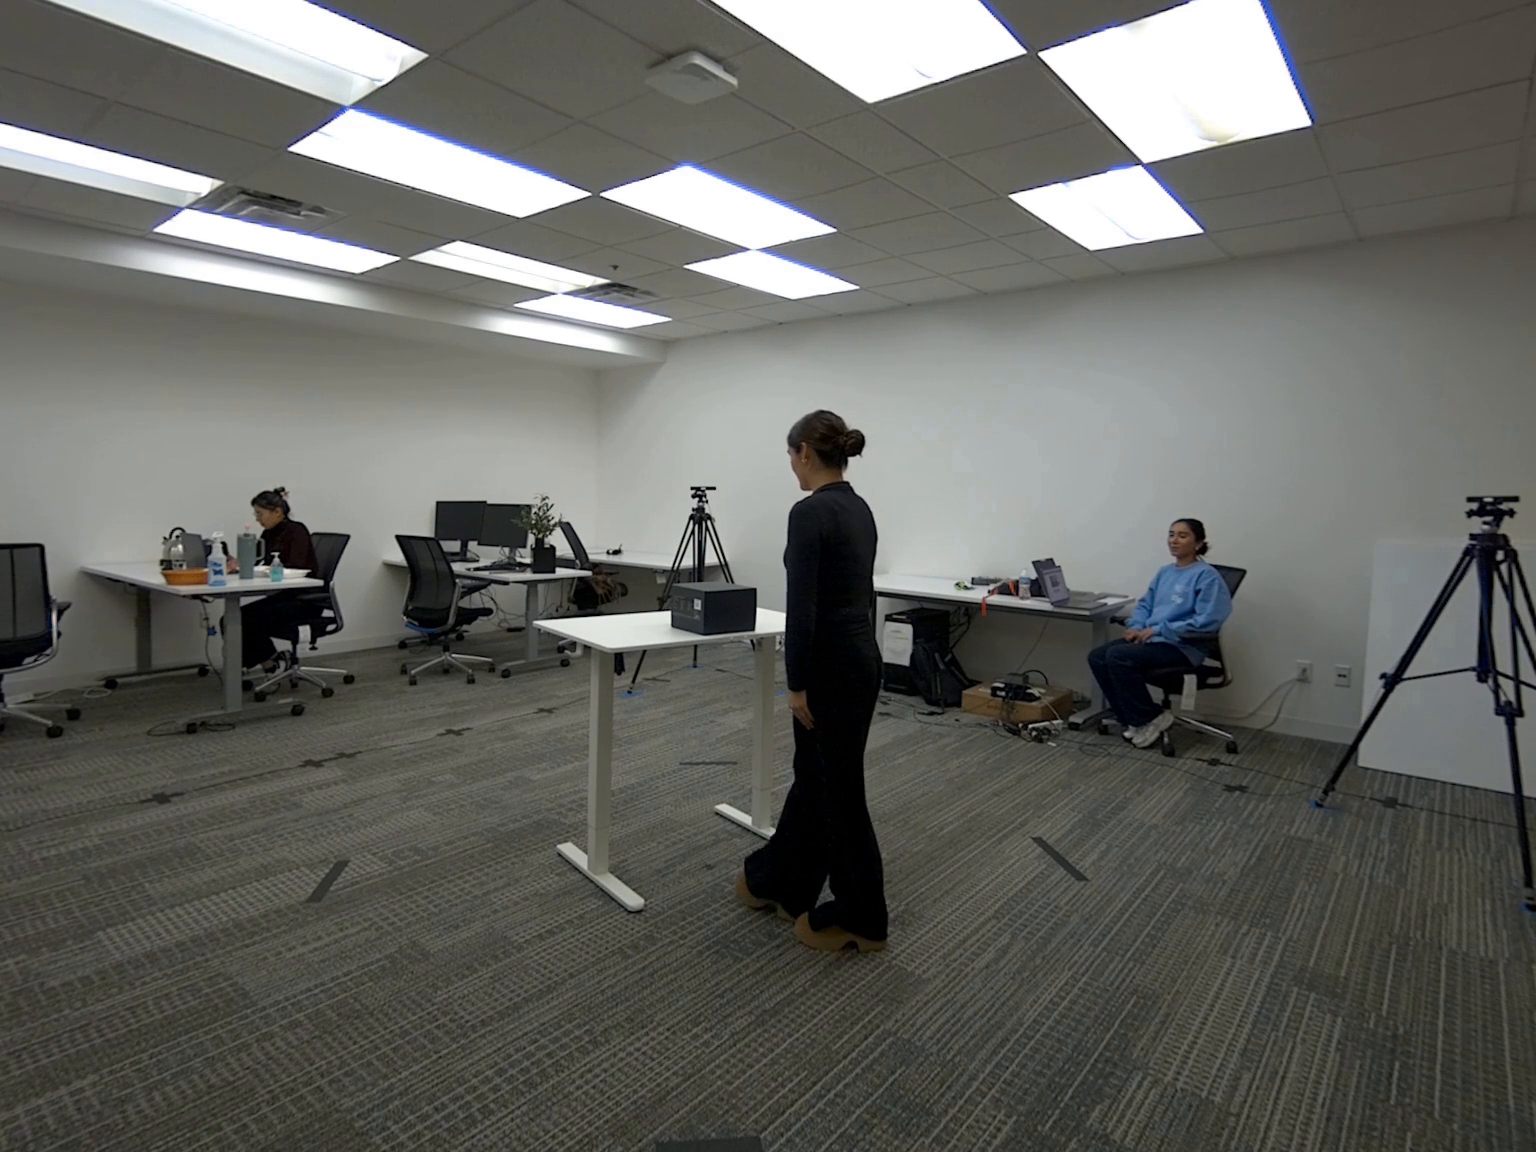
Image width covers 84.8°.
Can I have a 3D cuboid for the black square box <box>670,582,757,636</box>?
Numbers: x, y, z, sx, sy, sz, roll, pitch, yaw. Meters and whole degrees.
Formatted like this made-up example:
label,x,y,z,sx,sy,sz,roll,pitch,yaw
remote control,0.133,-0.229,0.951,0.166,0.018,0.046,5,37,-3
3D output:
label,x,y,z,sx,sy,sz,roll,pitch,yaw
black square box,-0.208,0.110,3.055,0.221,0.155,0.224,-2,6,-38
